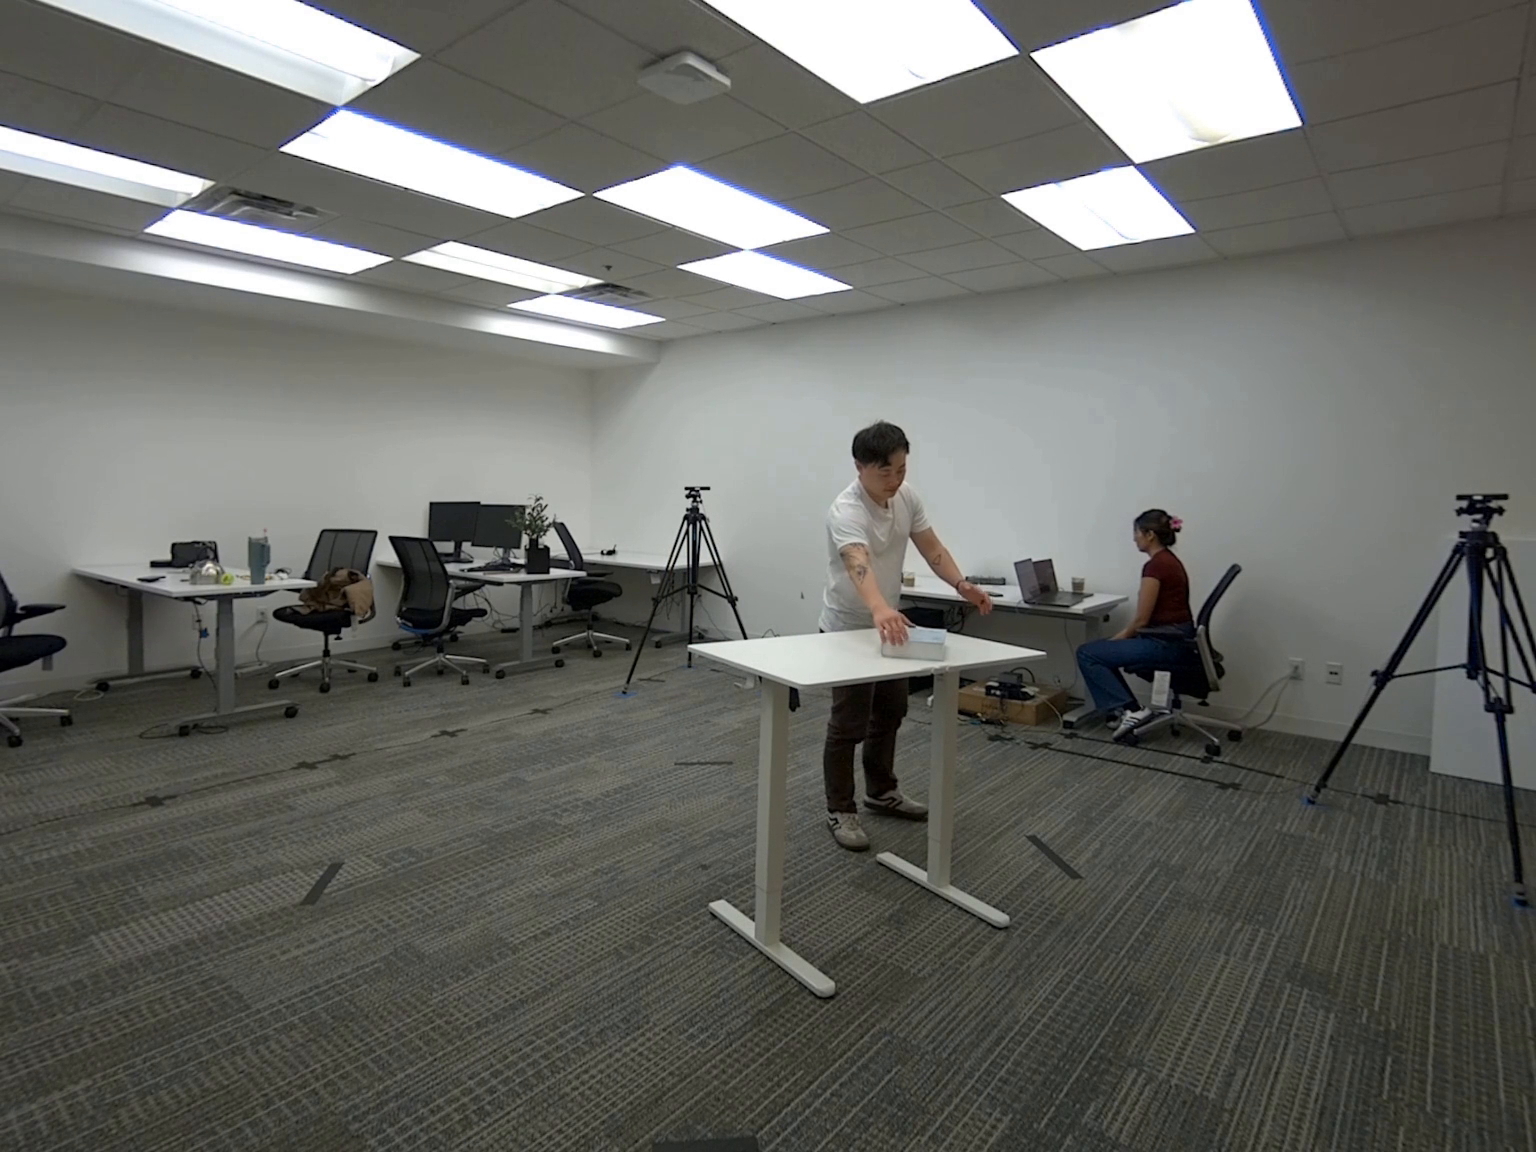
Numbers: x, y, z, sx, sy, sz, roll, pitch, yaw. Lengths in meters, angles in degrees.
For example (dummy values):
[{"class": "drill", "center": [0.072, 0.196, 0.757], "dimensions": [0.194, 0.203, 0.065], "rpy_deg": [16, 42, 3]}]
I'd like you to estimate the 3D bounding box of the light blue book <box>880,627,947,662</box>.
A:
[{"class": "light blue book", "center": [0.484, 0.210, 2.727], "dimensions": [0.194, 0.059, 0.258], "rpy_deg": [2, 6, 13]}]
